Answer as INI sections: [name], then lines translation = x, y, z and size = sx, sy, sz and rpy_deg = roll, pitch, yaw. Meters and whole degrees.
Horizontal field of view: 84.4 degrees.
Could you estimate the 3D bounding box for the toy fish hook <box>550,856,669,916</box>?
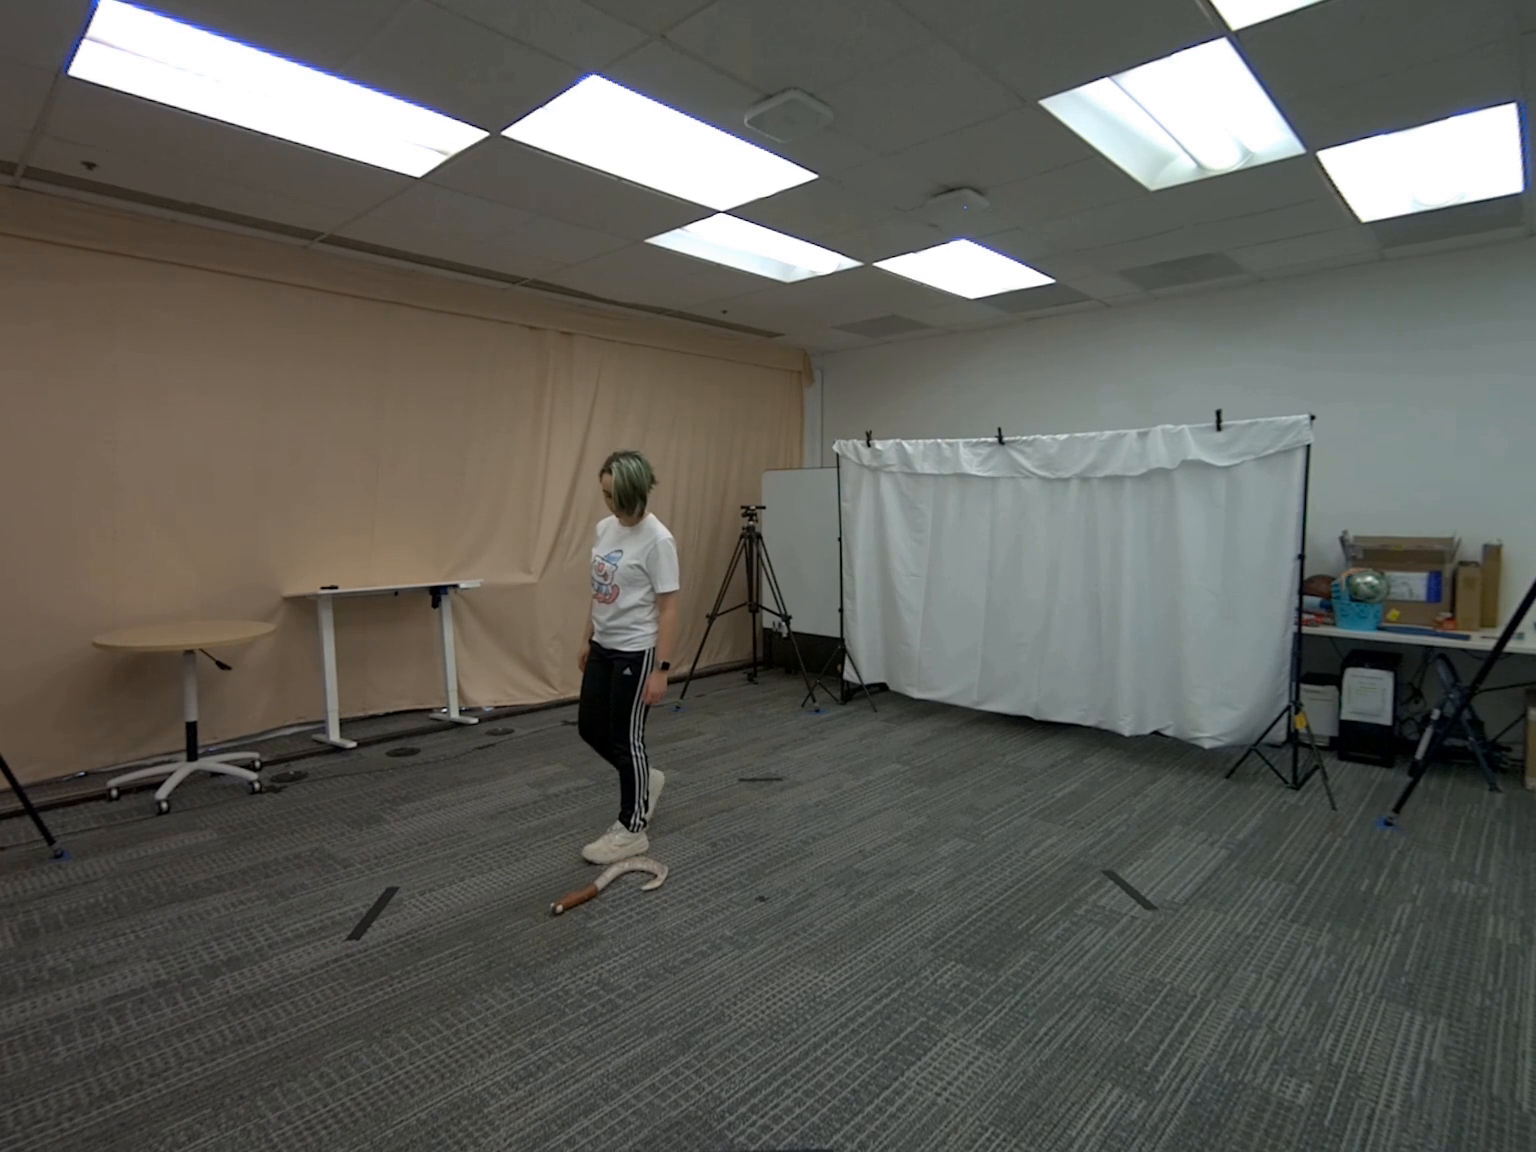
[toy fish hook]
translation = -0.556, 1.120, 3.038
size = 0.231, 0.048, 0.492
rpy_deg = 0, 5, 33
